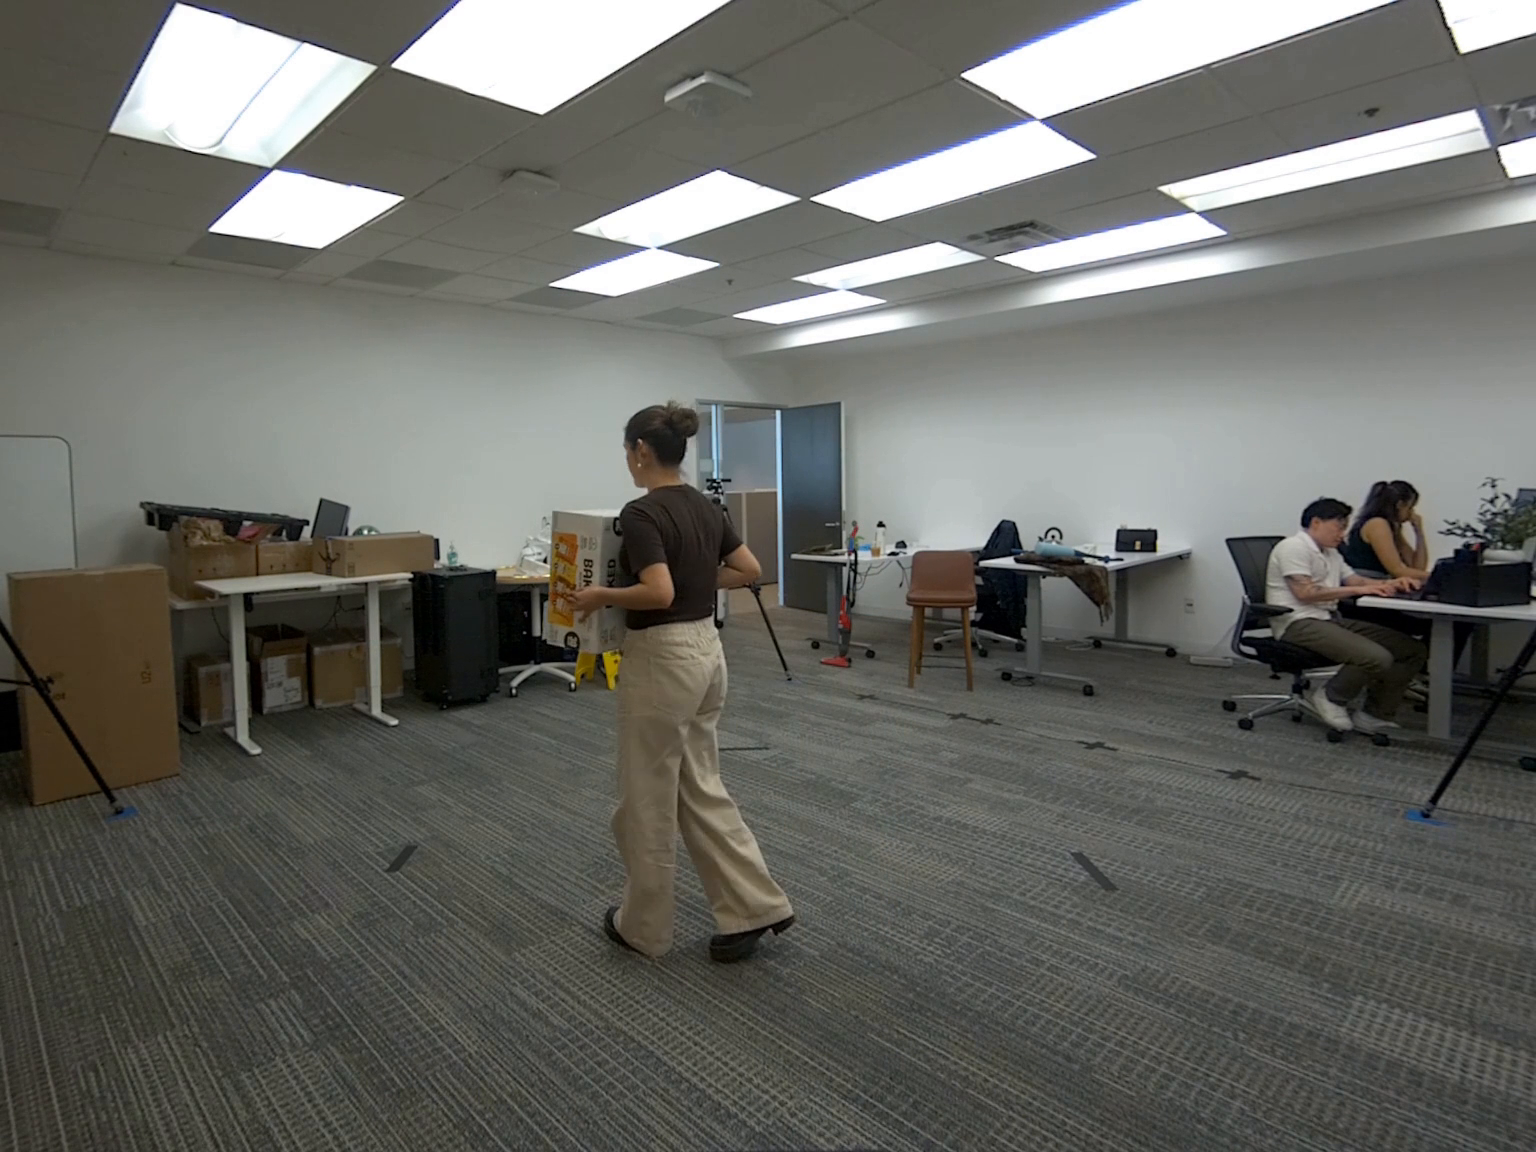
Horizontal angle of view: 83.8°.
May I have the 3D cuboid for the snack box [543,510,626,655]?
[{"bbox_3d":[-0.477,0.002,2.649,0.211,0.403,0.332,6,7,30],"label":"snack box"}]
